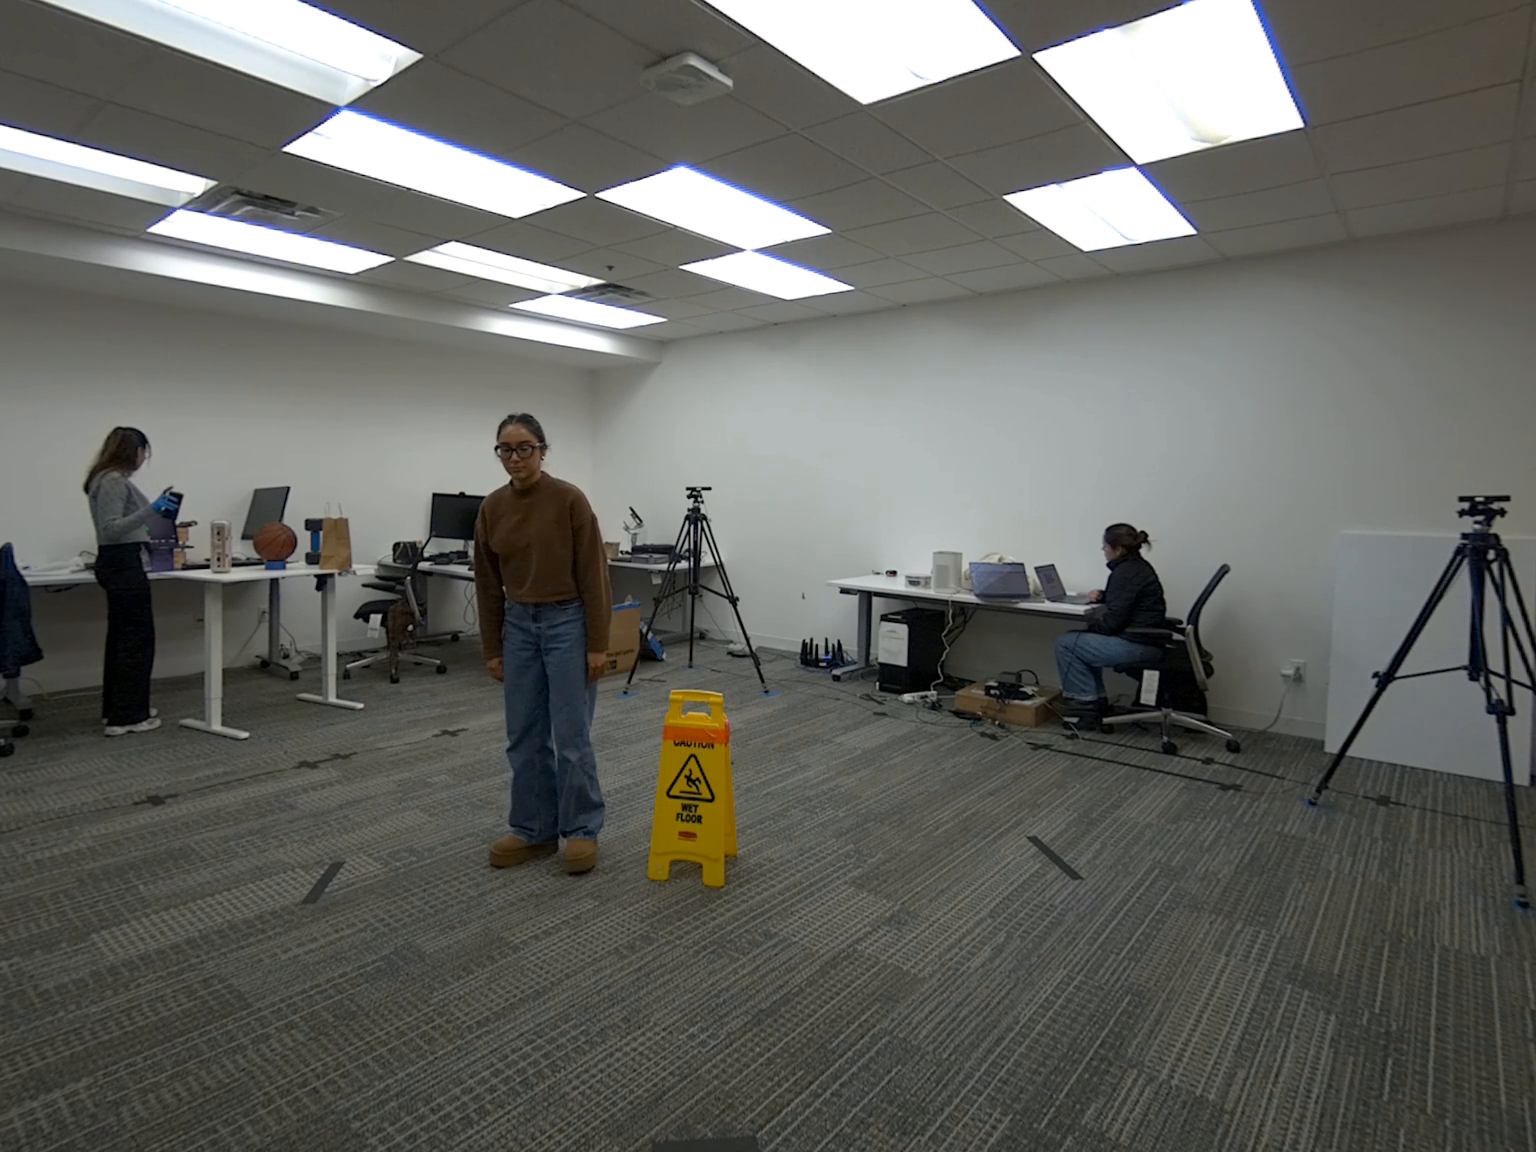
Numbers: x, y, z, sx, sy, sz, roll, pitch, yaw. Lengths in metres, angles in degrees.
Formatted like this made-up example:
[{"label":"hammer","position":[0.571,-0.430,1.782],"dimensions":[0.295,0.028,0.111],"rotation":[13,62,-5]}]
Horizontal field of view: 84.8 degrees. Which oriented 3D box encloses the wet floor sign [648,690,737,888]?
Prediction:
[{"label":"wet floor sign","position":[-0.276,0.743,3.099],"dimensions":[0.286,0.644,0.287],"rotation":[0,3,10]}]
